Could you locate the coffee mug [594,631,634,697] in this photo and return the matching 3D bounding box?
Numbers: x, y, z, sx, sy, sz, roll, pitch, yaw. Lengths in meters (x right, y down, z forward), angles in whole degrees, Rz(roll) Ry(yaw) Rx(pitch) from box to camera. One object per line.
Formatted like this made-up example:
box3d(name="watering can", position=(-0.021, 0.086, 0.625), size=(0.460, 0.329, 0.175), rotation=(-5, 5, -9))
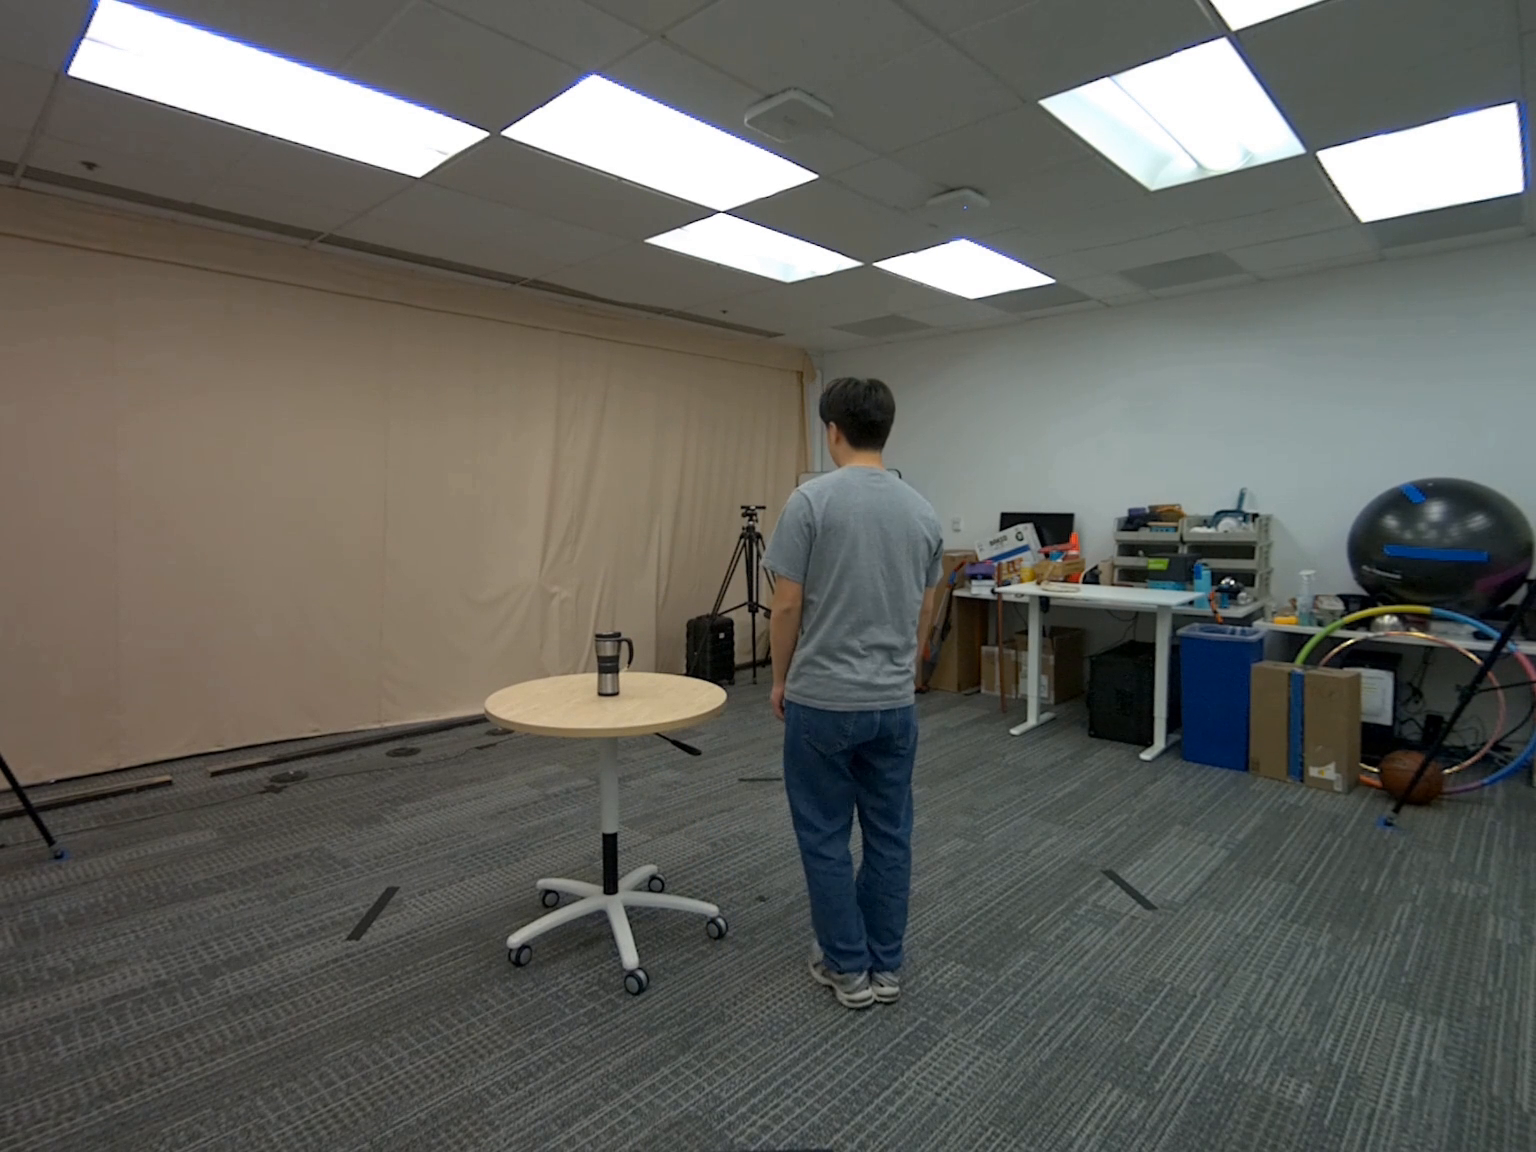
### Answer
box3d(name="coffee mug", position=(-0.500, 0.284, 2.710), size=(0.125, 0.203, 0.085), rotation=(-4, -4, 35))
